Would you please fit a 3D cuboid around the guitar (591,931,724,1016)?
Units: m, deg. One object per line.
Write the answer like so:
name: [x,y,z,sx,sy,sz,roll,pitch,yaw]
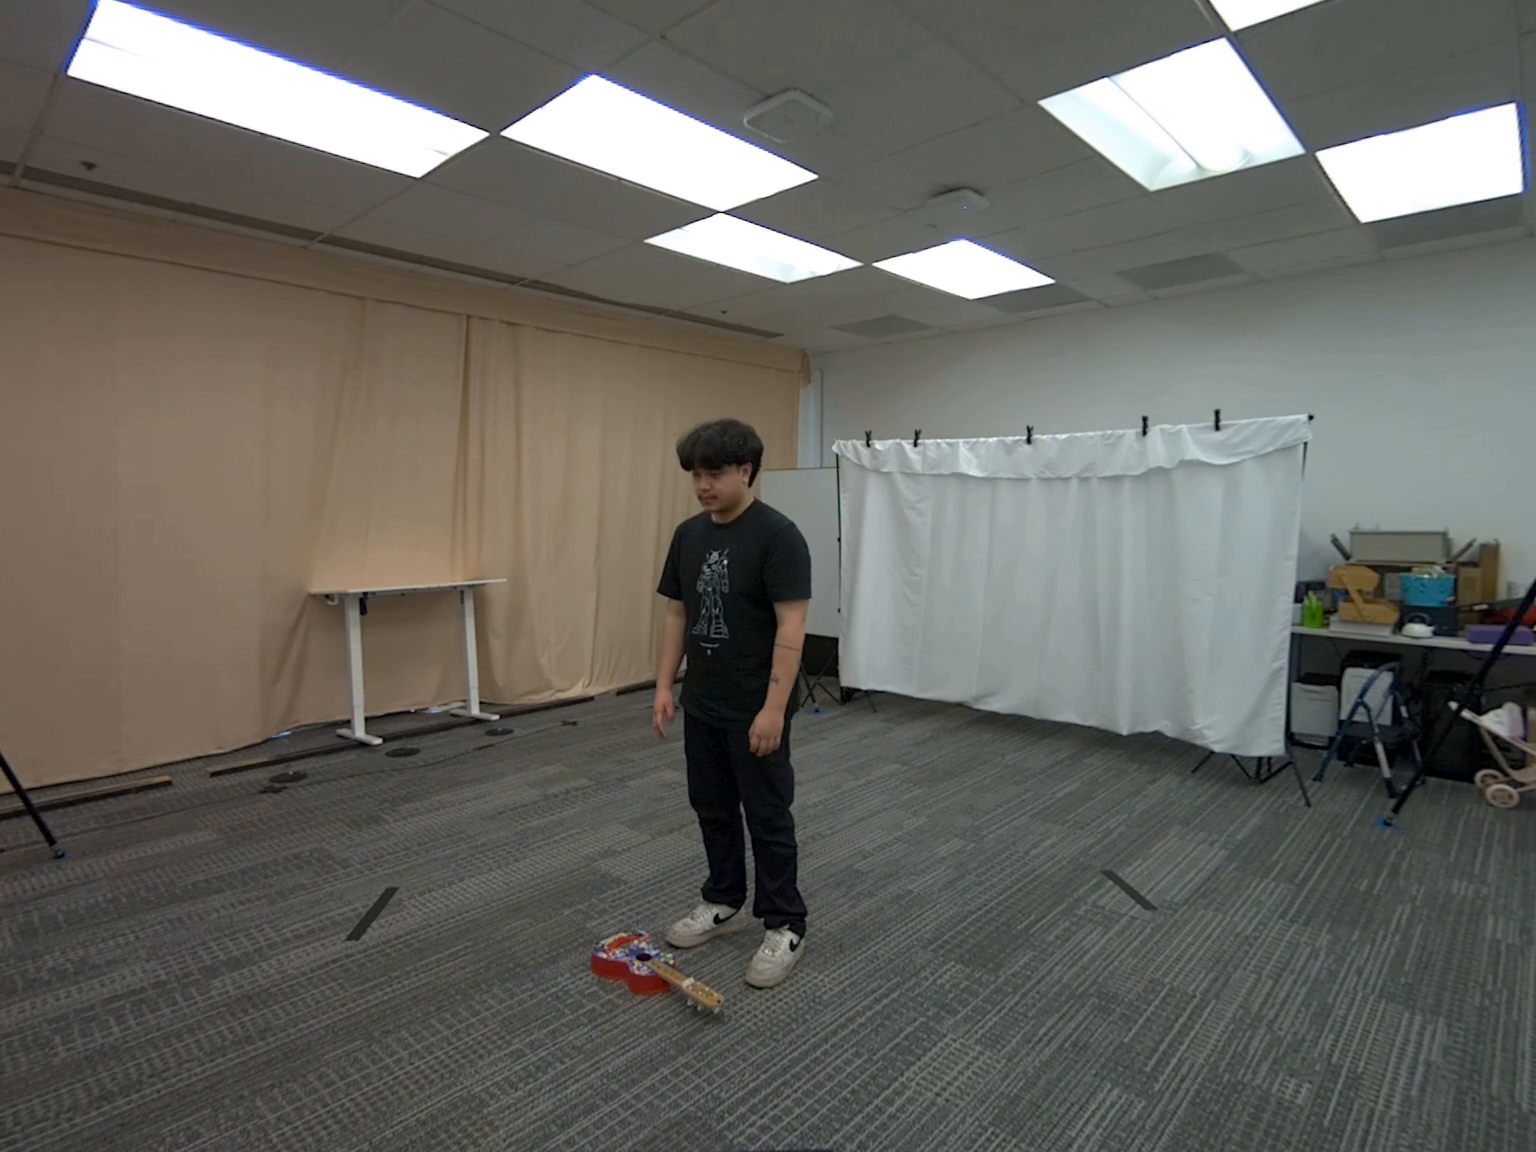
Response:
guitar: [-0.326,1.150,2.424,0.187,0.070,0.514,-4,6,-37]
